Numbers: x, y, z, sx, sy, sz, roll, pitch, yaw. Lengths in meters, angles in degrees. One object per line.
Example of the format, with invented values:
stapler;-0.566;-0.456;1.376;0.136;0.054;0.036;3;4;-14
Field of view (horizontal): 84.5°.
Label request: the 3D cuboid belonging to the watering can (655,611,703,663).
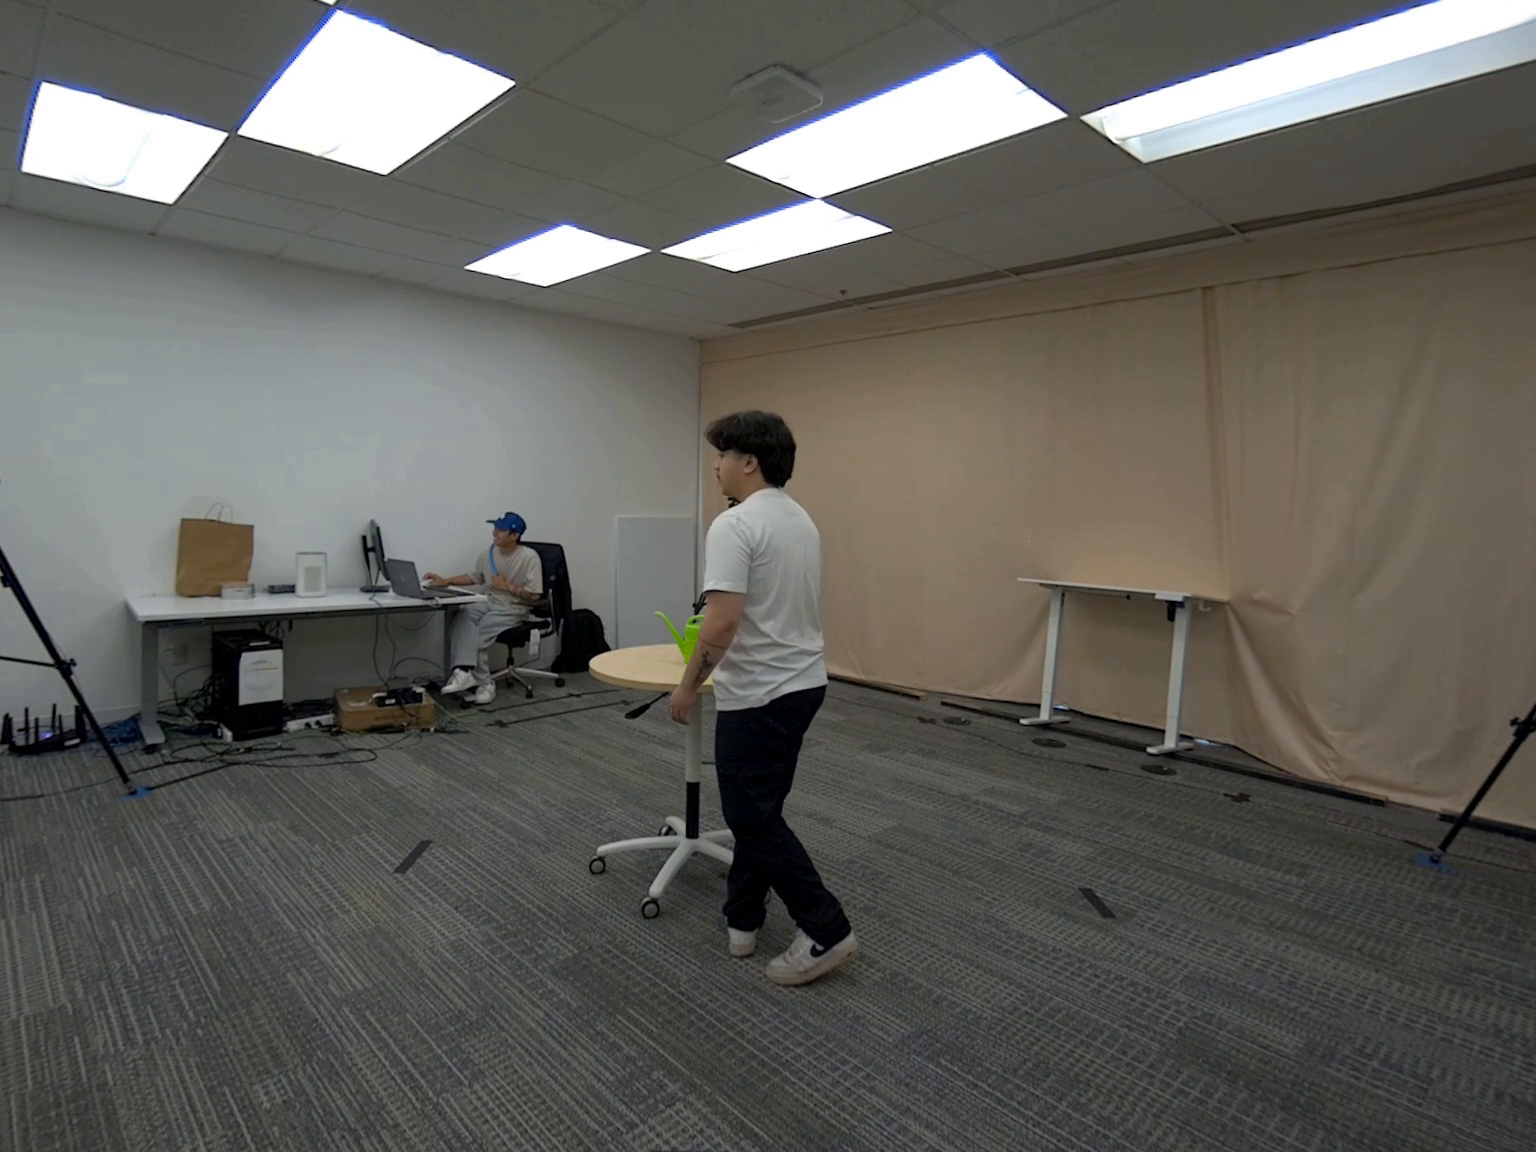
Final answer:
watering can;-0.284;0.232;3.078;0.285;0.176;0.096;5;5;32
